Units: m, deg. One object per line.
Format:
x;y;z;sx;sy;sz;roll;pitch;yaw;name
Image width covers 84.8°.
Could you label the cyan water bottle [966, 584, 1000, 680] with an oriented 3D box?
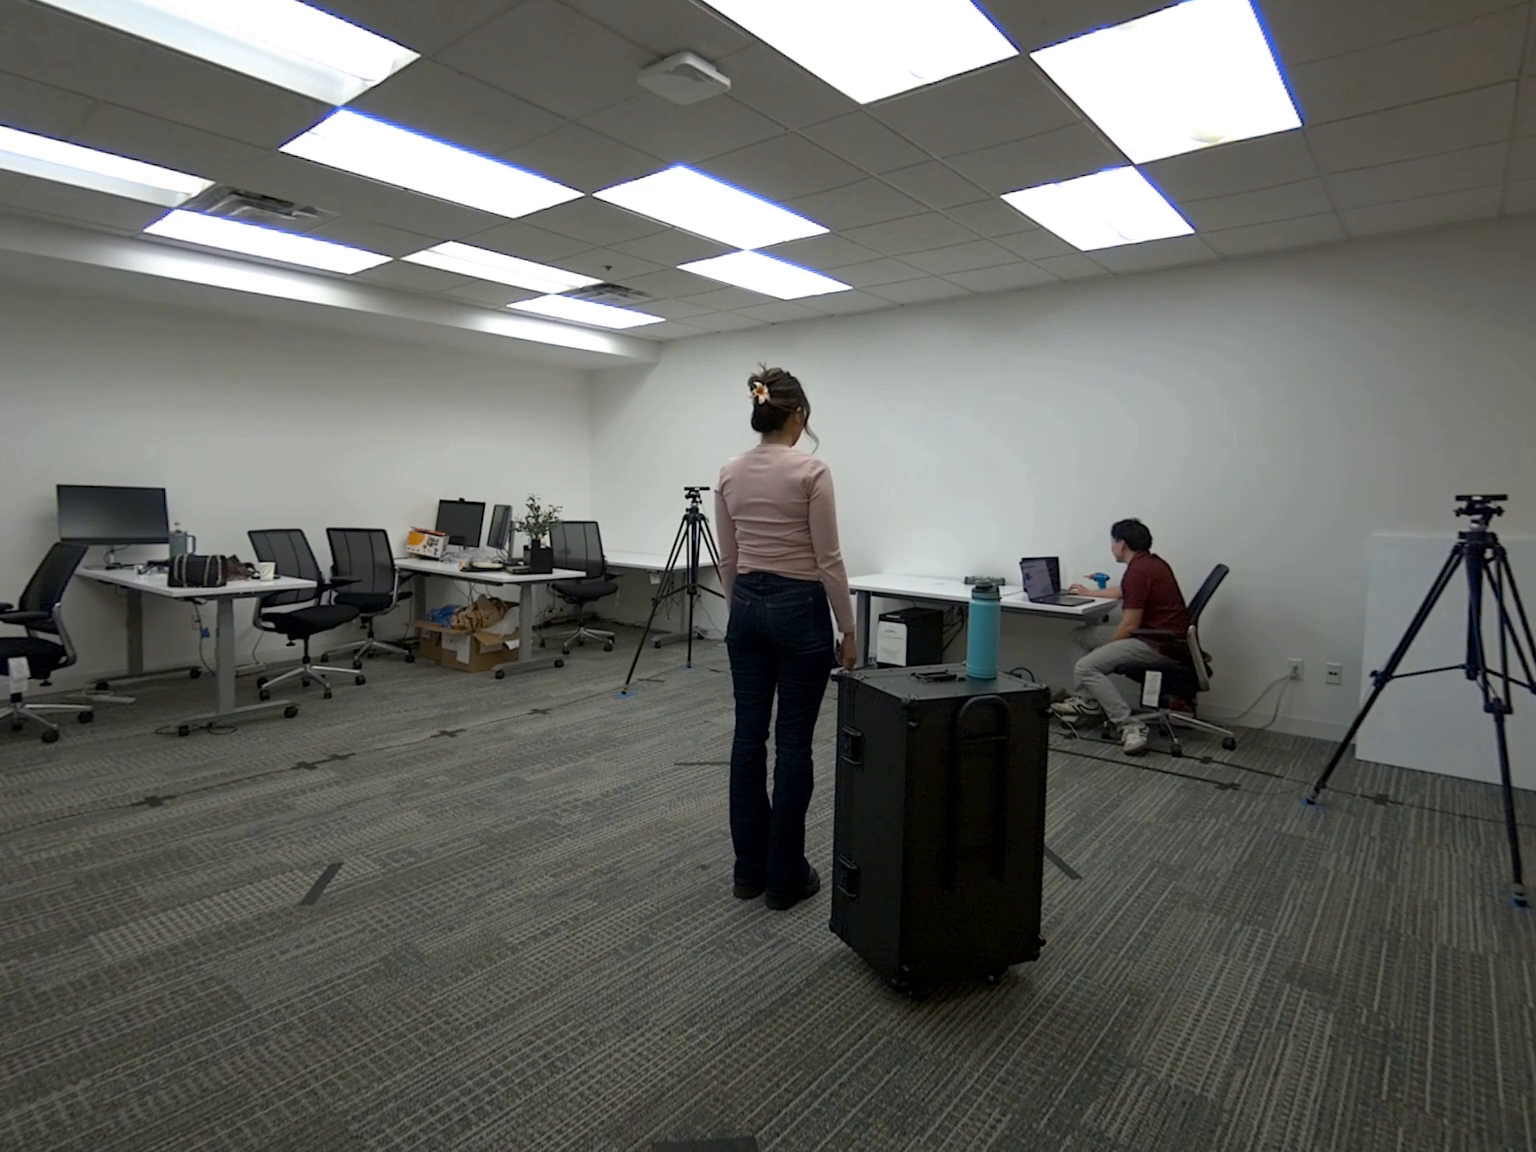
0.639;0.152;2.513;0.092;0.283;0.093;2;3;-2;cyan water bottle
